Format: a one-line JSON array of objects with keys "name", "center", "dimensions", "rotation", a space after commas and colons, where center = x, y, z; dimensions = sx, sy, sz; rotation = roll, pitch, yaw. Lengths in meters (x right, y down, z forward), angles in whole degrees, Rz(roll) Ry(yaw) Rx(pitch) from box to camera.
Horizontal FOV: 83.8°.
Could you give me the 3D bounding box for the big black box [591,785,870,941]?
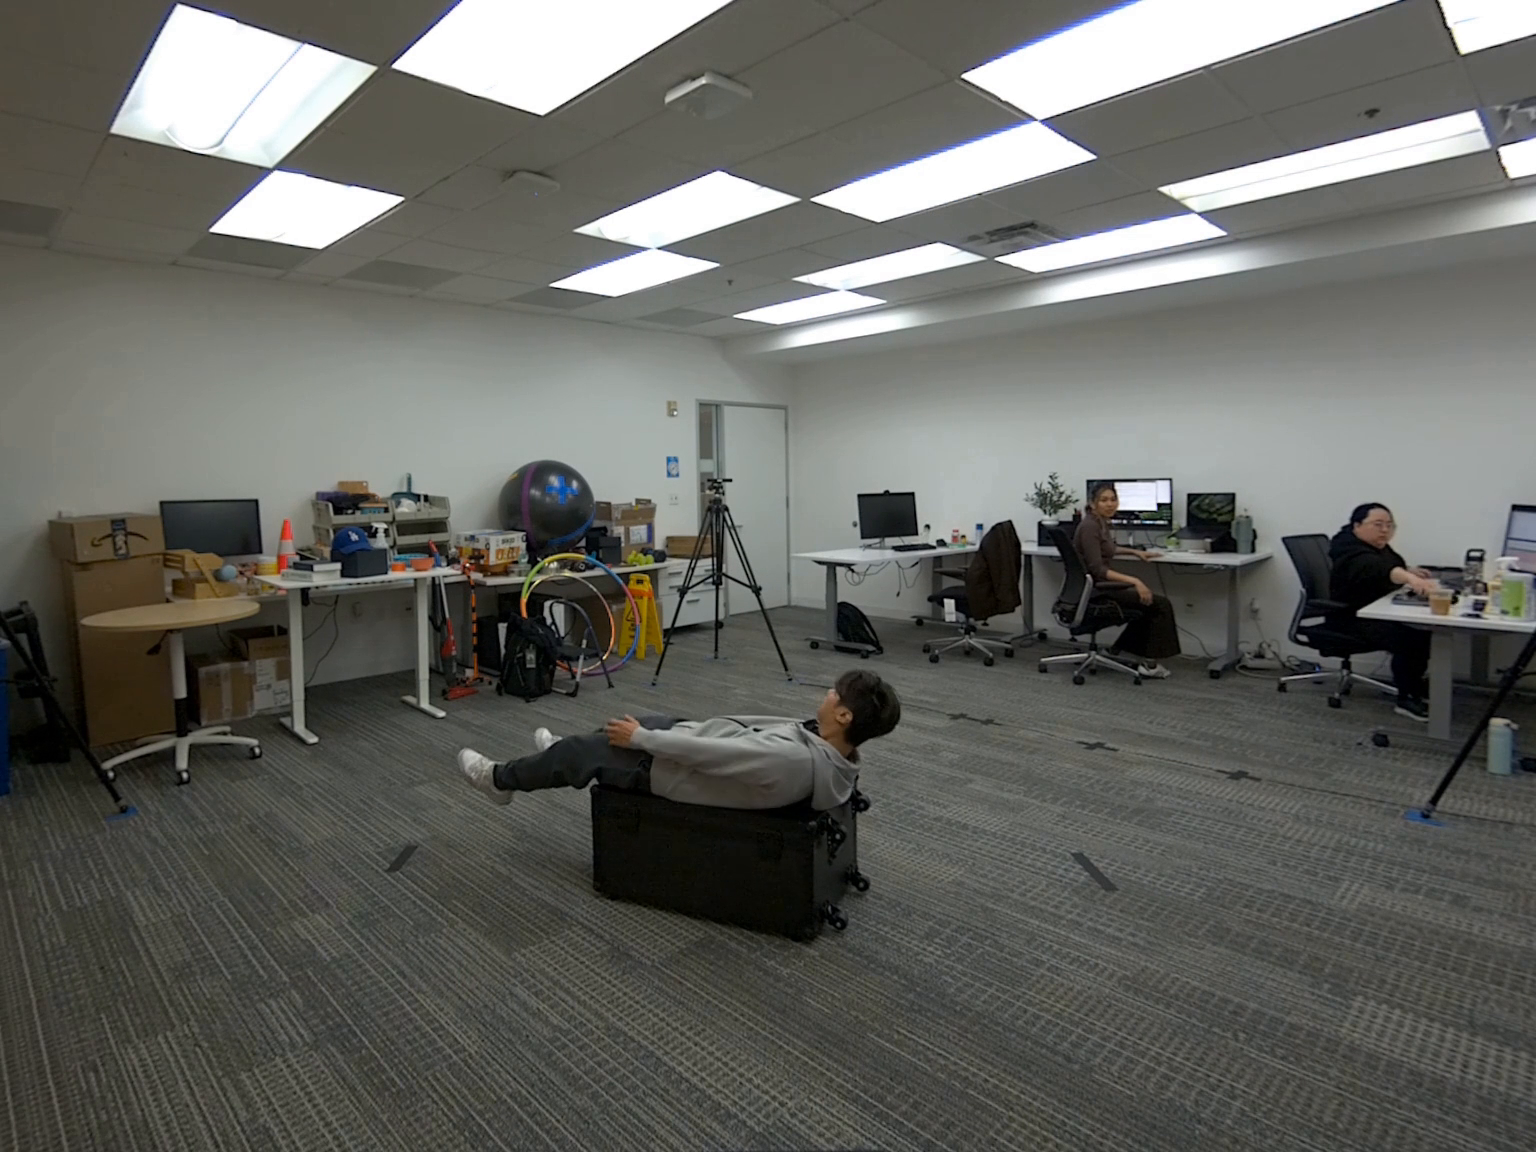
[{"name": "big black box", "center": [-0.162, 0.881, 2.932], "dimensions": [0.881, 0.395, 0.512], "rotation": [3, 6, 24]}]
